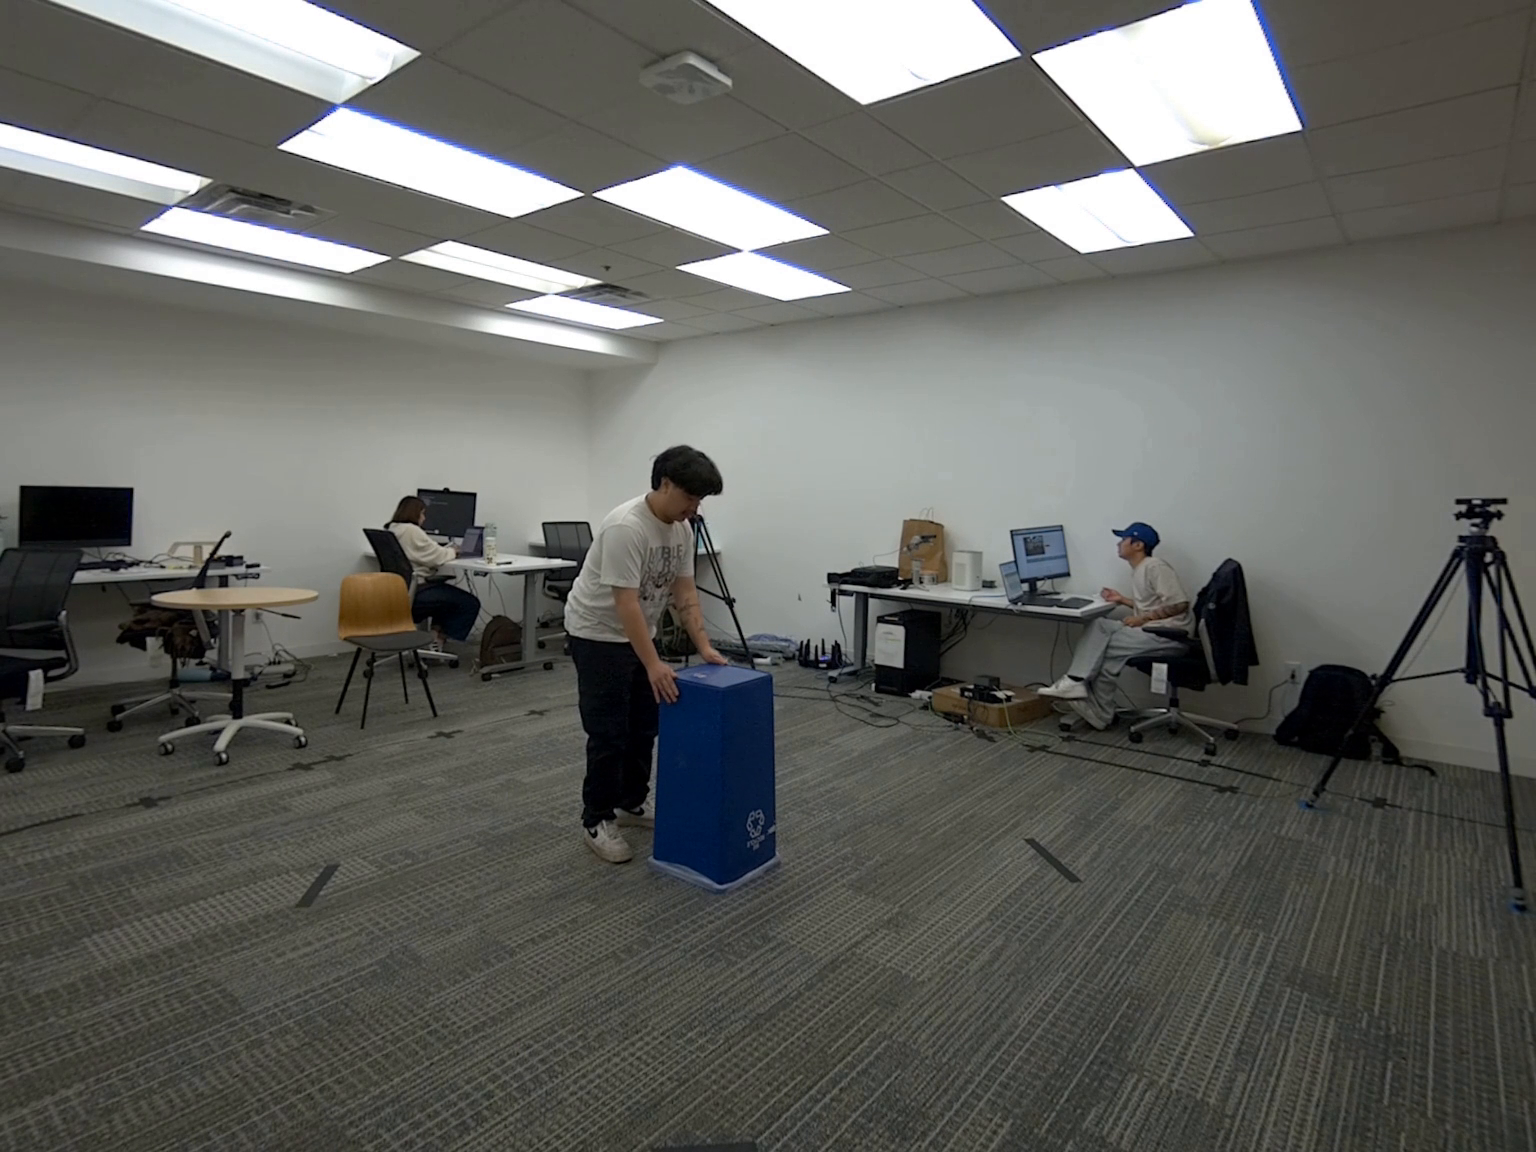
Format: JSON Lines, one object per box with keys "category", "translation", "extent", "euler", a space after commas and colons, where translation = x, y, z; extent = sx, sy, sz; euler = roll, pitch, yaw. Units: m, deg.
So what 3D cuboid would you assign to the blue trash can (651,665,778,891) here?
{"category": "blue trash can", "translation": [-0.205, 0.712, 3.141], "extent": [0.390, 0.711, 0.363], "euler": [3, 5, 38]}
